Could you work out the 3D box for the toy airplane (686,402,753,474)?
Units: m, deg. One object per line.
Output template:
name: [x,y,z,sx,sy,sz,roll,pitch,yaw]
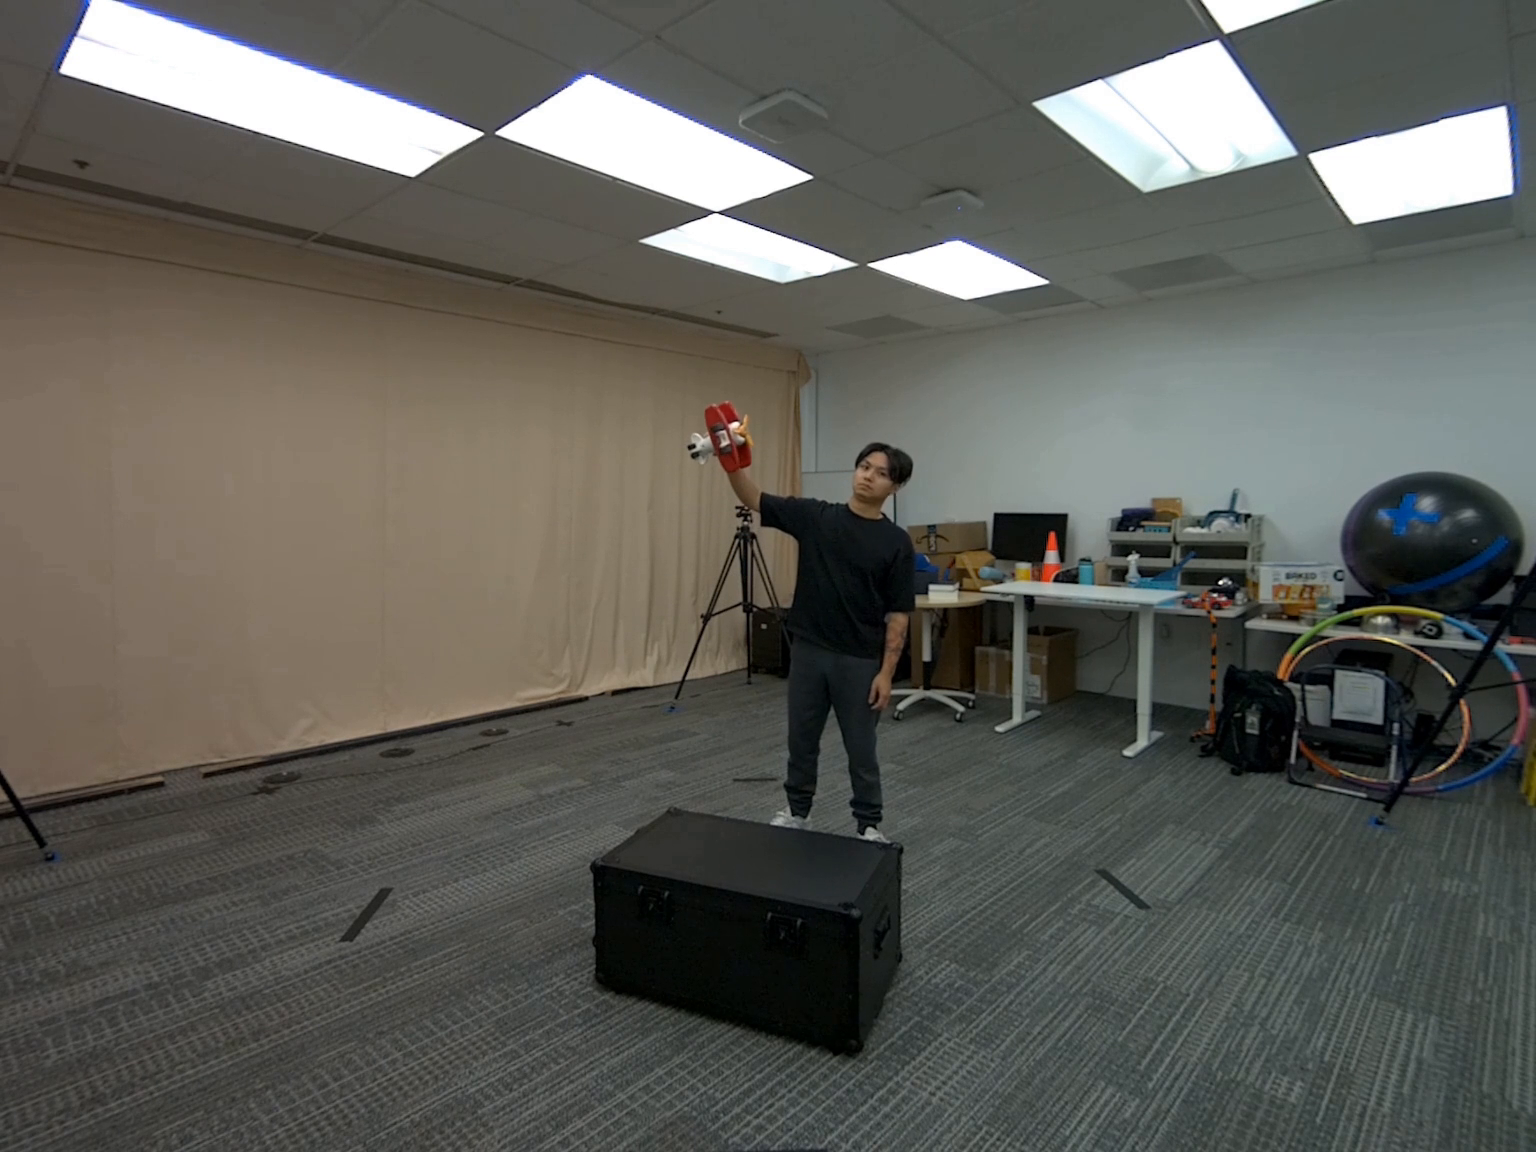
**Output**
toy airplane: [-0.189,-0.518,3.152,0.153,0.247,0.269,-23,34,-35]
